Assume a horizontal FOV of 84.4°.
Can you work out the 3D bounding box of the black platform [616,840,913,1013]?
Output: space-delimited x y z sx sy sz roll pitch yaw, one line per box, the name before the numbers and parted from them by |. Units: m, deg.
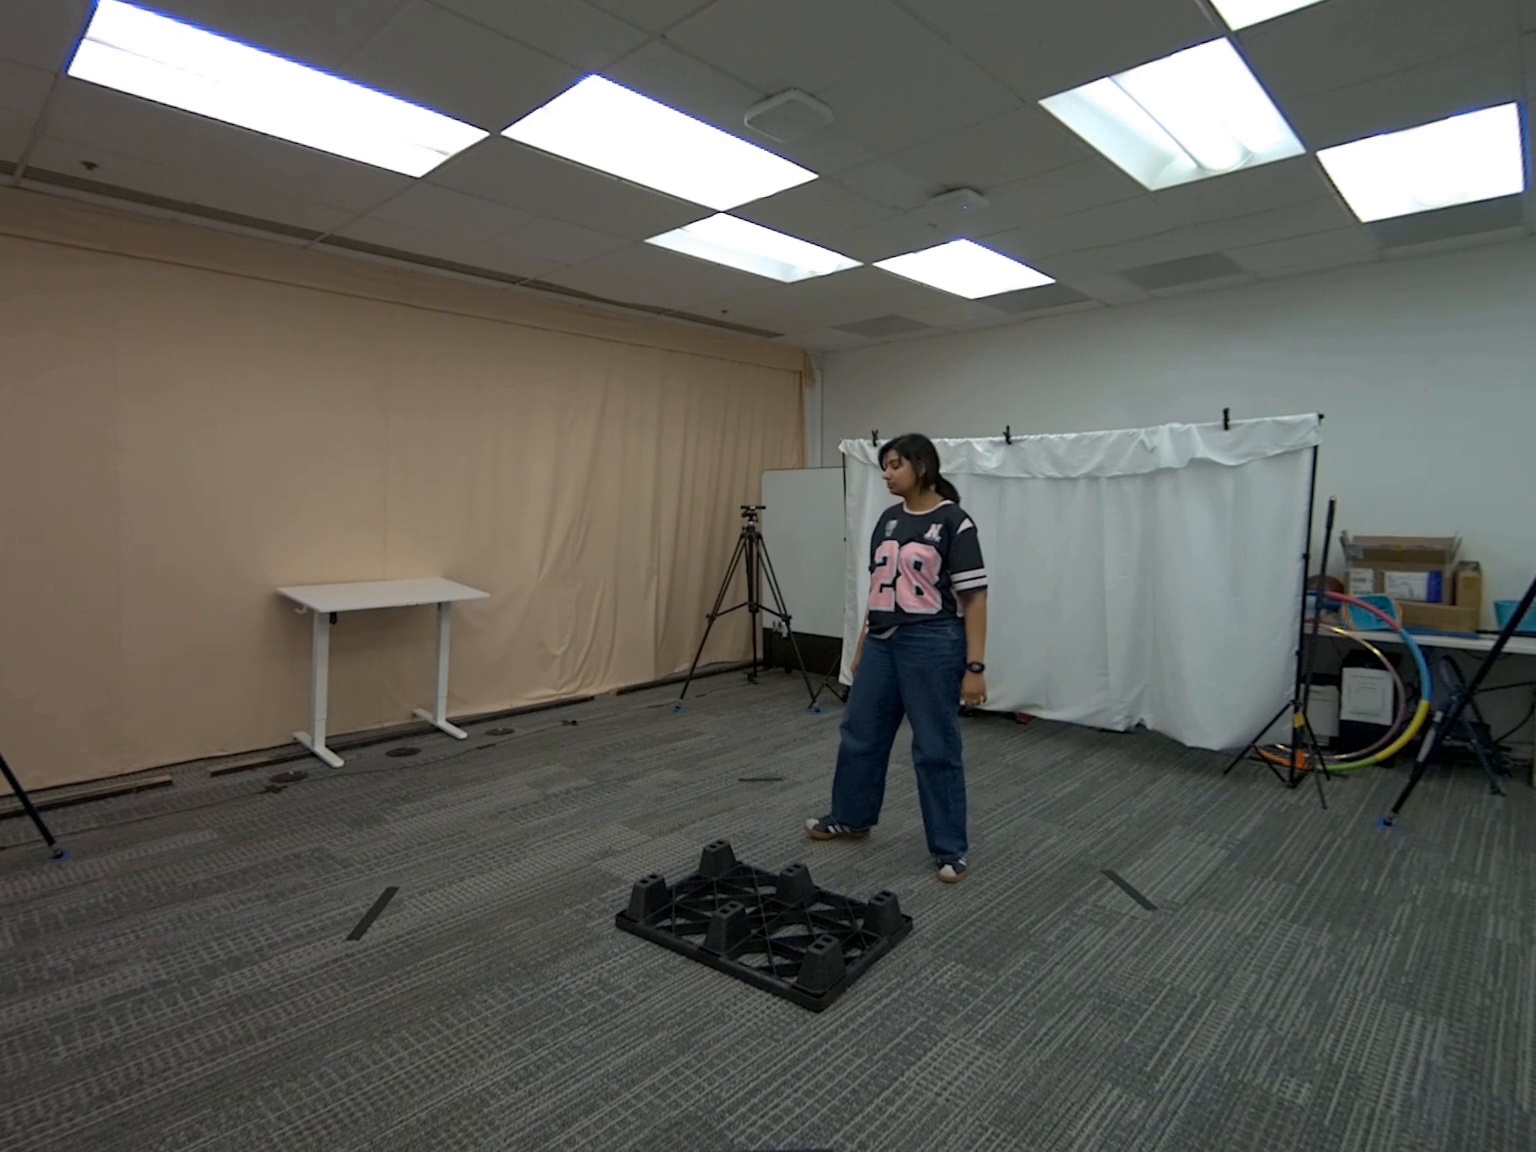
black platform | -0.019 1.097 2.773 0.831 0.143 0.587 3 5 37
